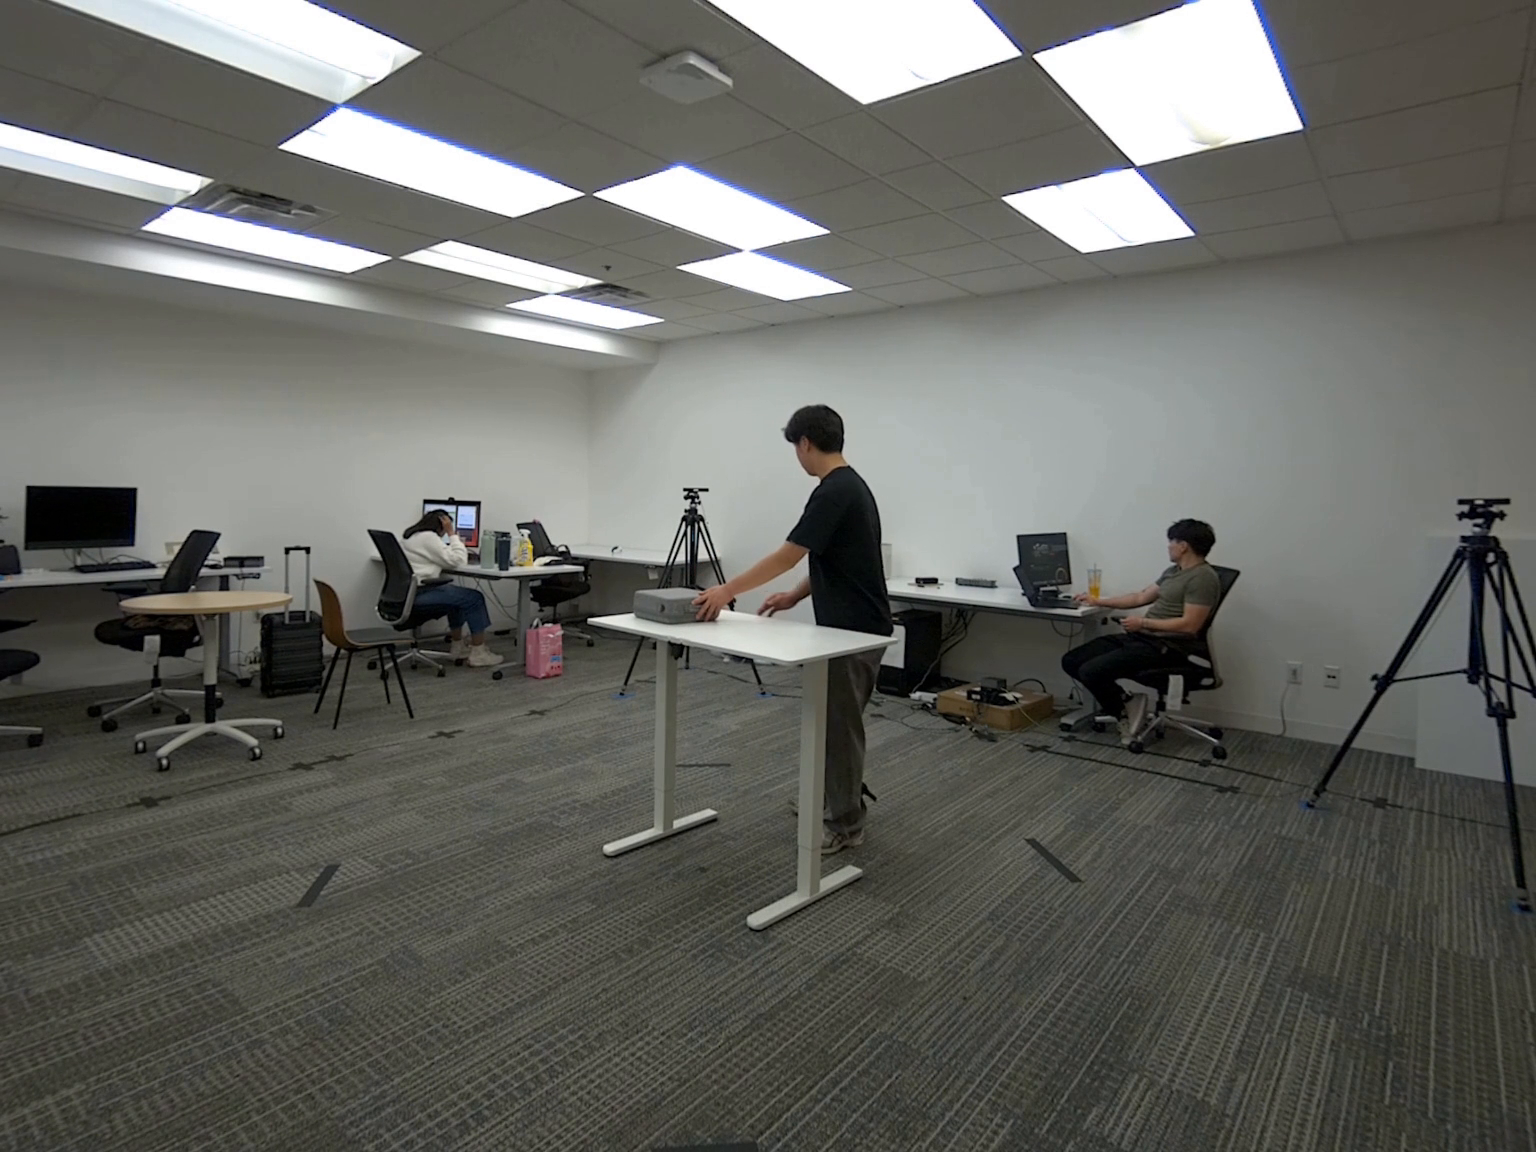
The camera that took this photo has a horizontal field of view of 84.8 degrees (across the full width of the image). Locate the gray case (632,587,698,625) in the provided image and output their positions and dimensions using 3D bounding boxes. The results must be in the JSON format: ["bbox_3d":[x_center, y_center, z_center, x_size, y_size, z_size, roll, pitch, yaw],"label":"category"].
[{"bbox_3d":[-0.367,0.111,3.293,0.255,0.102,0.297,-3,7,-41],"label":"gray case"}]
